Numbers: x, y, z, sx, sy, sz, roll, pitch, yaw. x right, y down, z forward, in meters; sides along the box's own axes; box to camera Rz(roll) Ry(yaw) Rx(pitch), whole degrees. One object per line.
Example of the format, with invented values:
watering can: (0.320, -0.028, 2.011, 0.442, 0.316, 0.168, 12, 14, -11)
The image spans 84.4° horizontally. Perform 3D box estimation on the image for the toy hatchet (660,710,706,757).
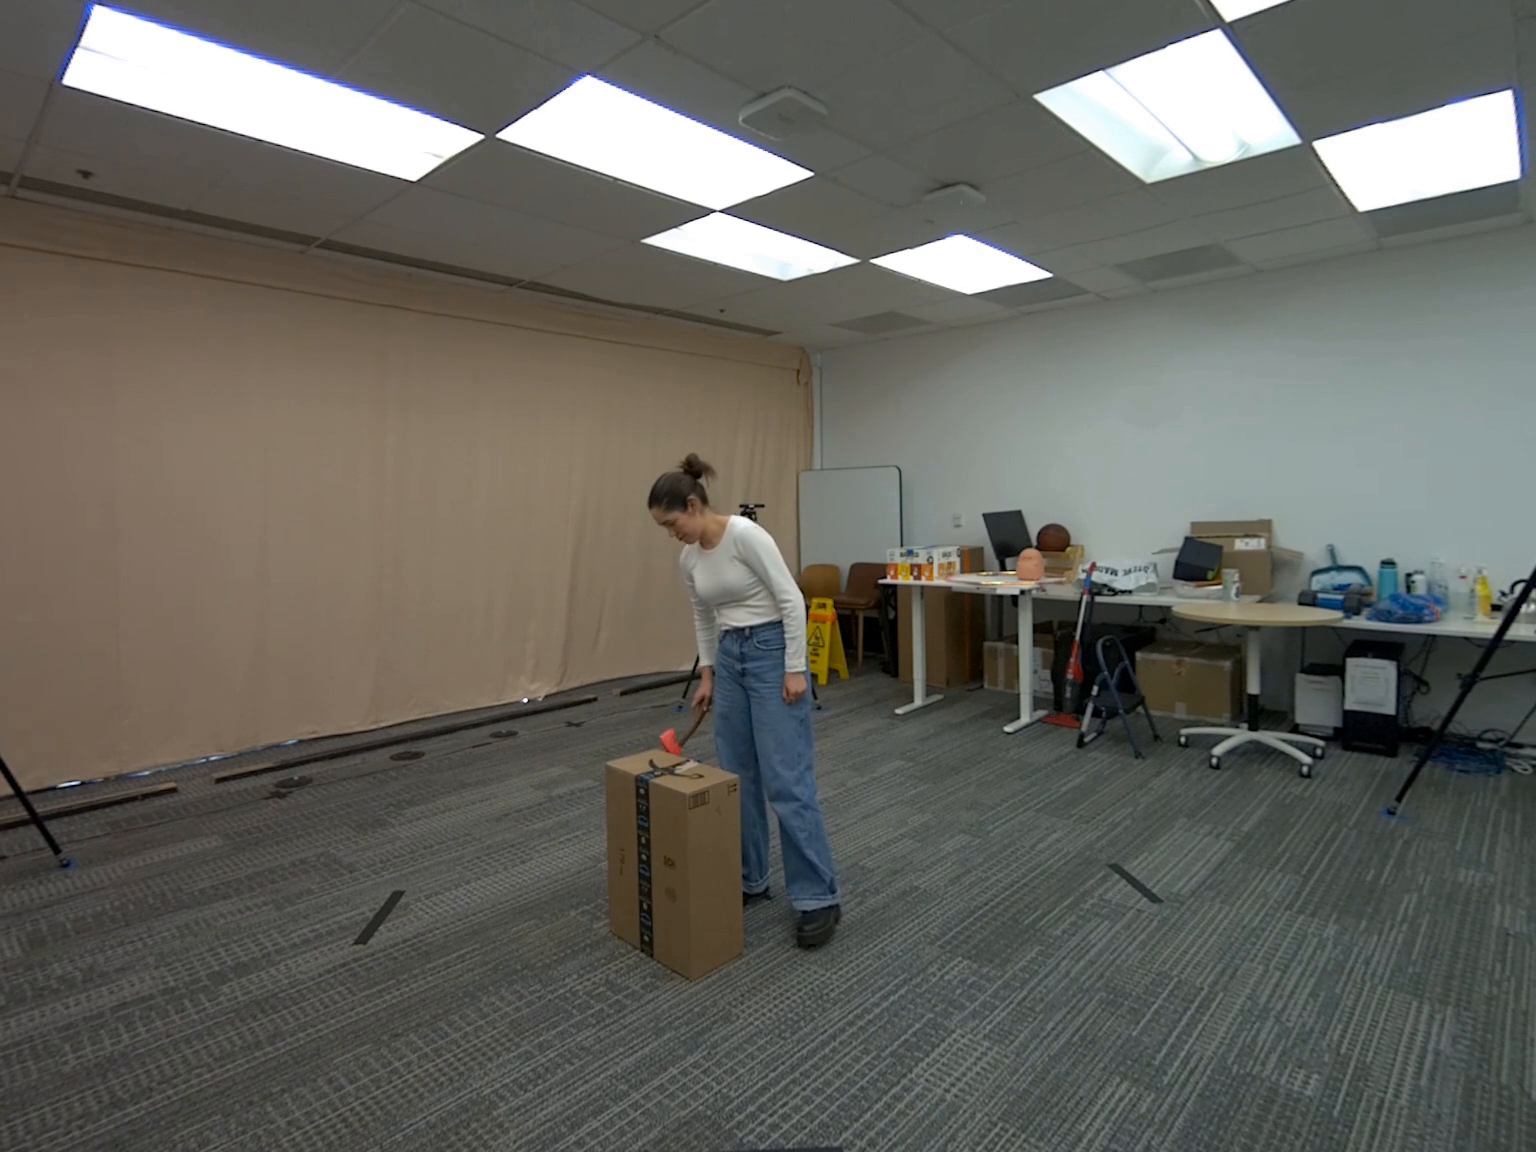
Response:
toy hatchet: (-0.306, 0.550, 2.997, 0.129, 0.270, 0.030, 32, -27, -14)
